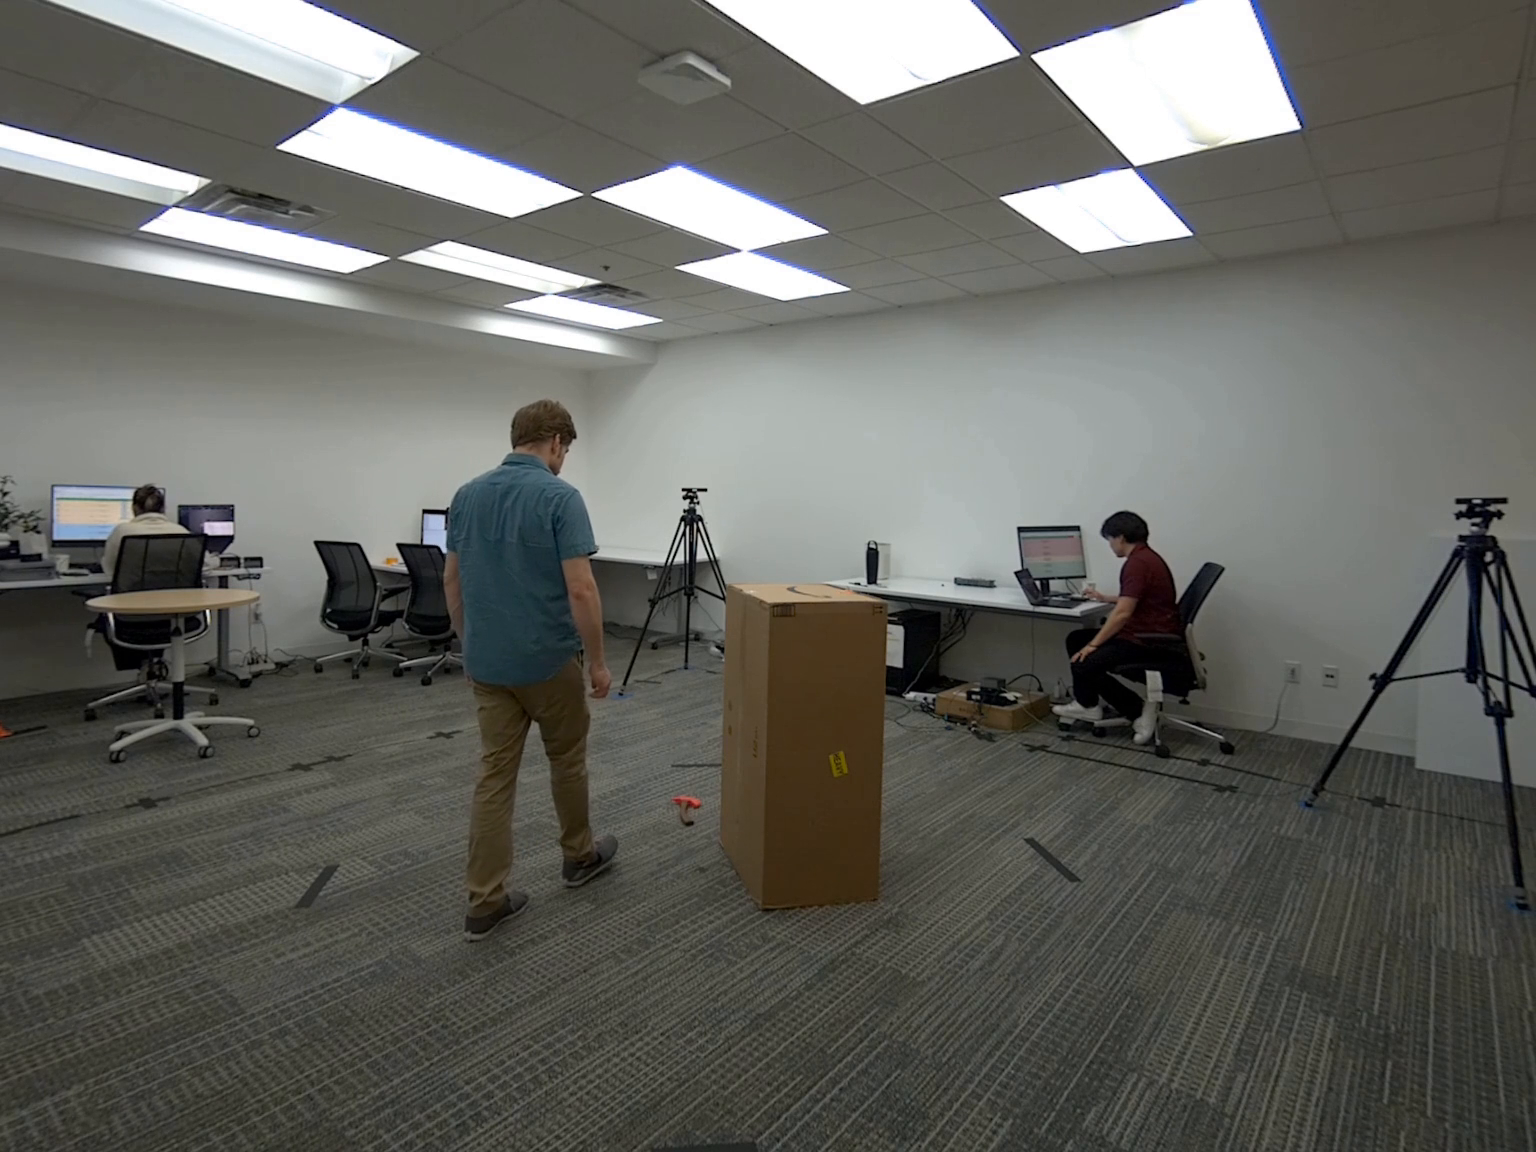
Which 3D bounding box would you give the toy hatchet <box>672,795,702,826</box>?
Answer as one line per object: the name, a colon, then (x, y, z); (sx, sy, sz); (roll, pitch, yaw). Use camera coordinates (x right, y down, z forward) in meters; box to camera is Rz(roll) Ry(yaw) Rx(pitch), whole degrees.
toy hatchet: (-0.336, 1.002, 3.648); (0.128, 0.029, 0.276); (2, 8, -18)
